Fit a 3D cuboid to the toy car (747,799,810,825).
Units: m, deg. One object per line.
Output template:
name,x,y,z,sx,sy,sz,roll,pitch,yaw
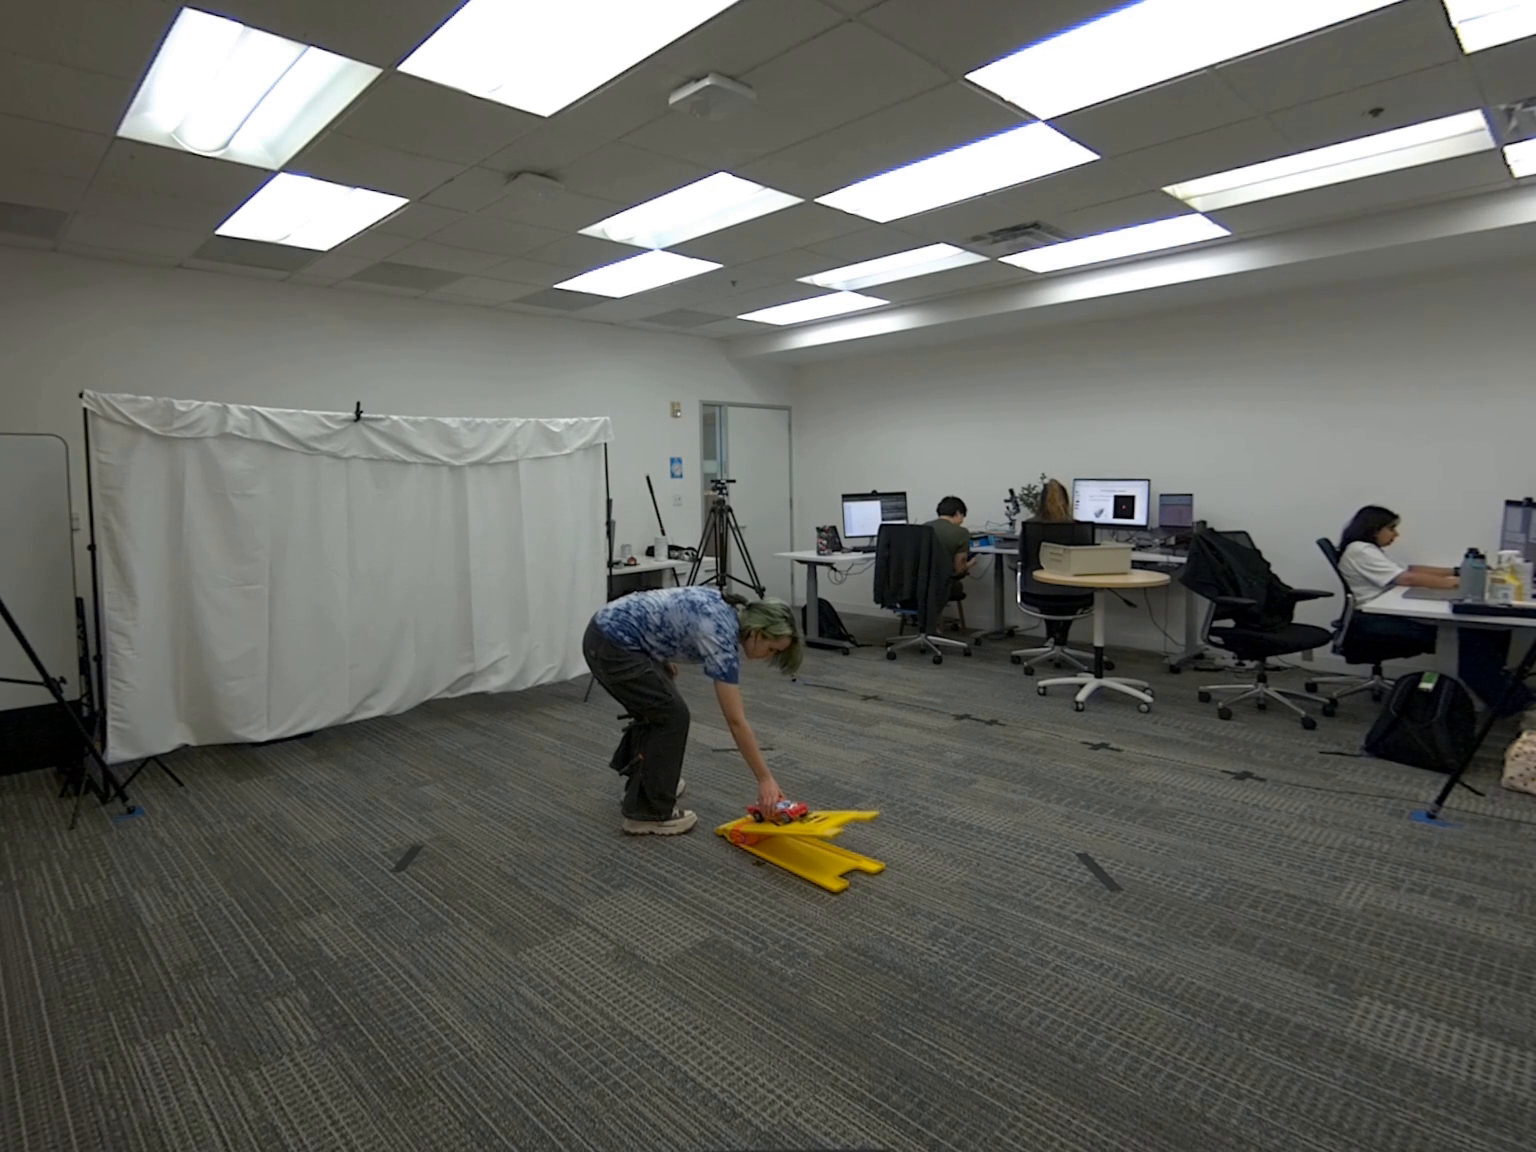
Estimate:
toy car,0.034,0.895,3.244,0.127,0.083,0.262,-10,7,-43
